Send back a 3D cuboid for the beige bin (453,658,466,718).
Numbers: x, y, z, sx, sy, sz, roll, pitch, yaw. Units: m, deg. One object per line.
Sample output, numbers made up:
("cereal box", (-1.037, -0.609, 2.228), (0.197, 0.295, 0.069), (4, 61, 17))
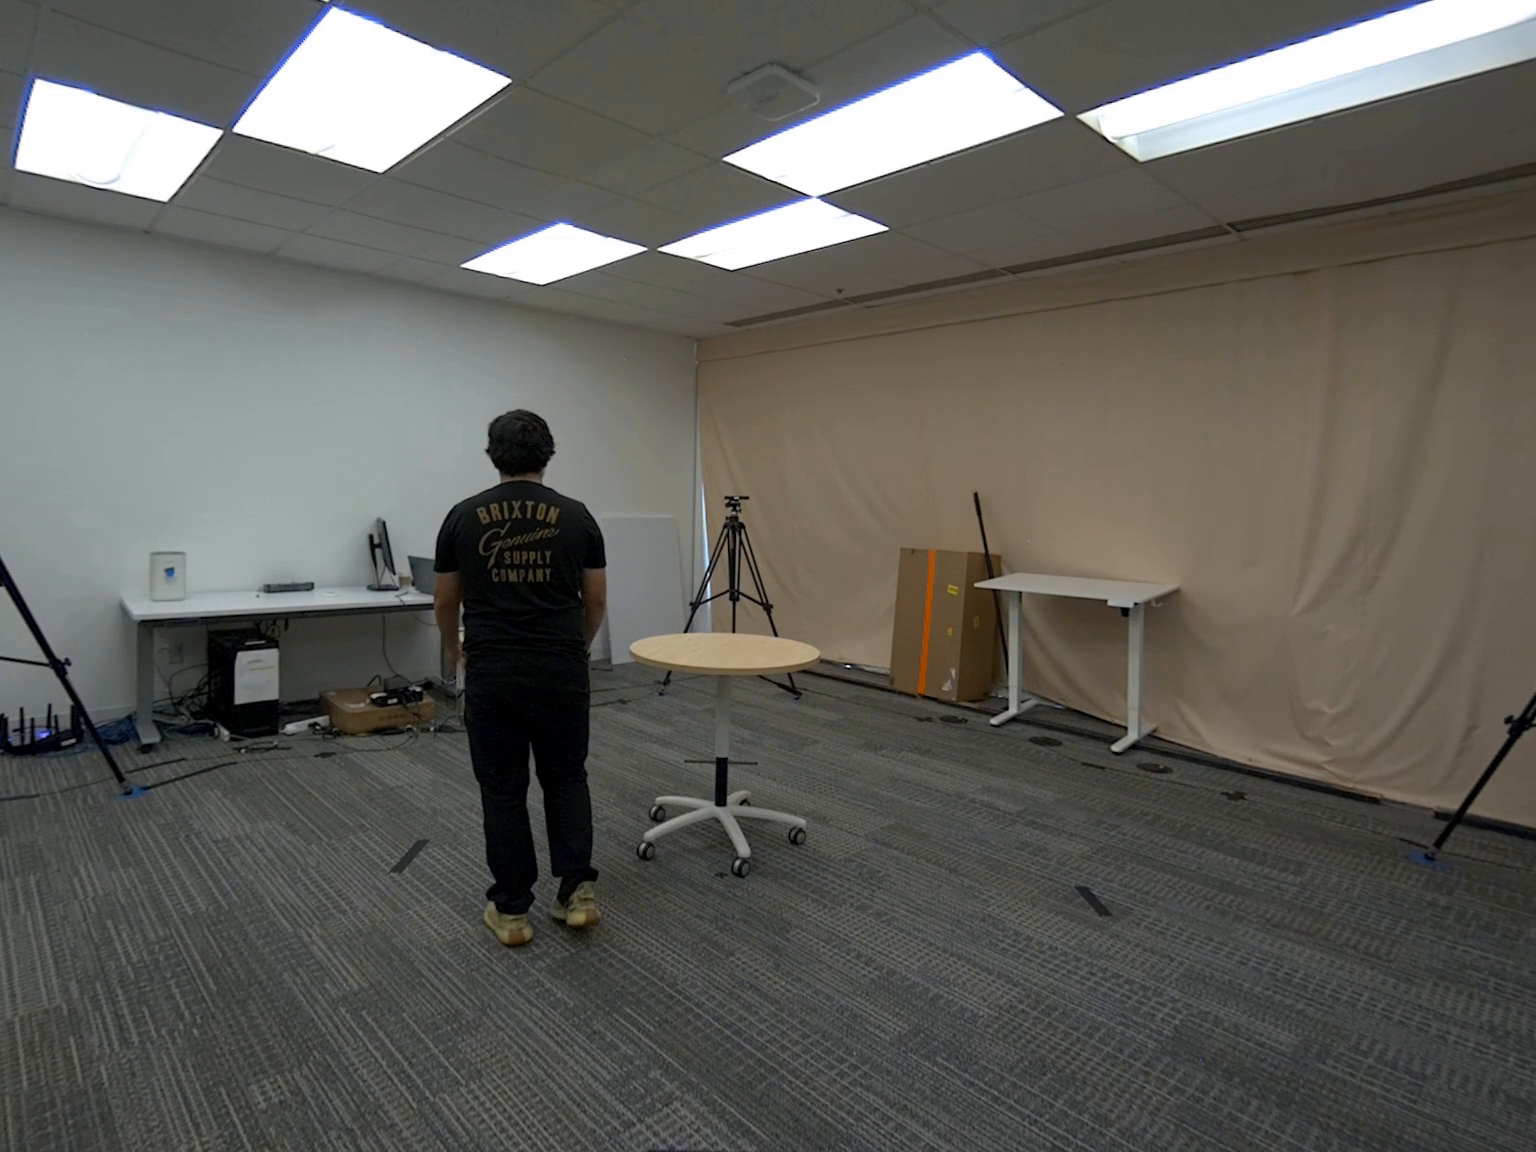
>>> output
("beige bin", (-0.876, 0.355, 2.991), (0.417, 0.186, 0.388), (-3, 30, -17))
